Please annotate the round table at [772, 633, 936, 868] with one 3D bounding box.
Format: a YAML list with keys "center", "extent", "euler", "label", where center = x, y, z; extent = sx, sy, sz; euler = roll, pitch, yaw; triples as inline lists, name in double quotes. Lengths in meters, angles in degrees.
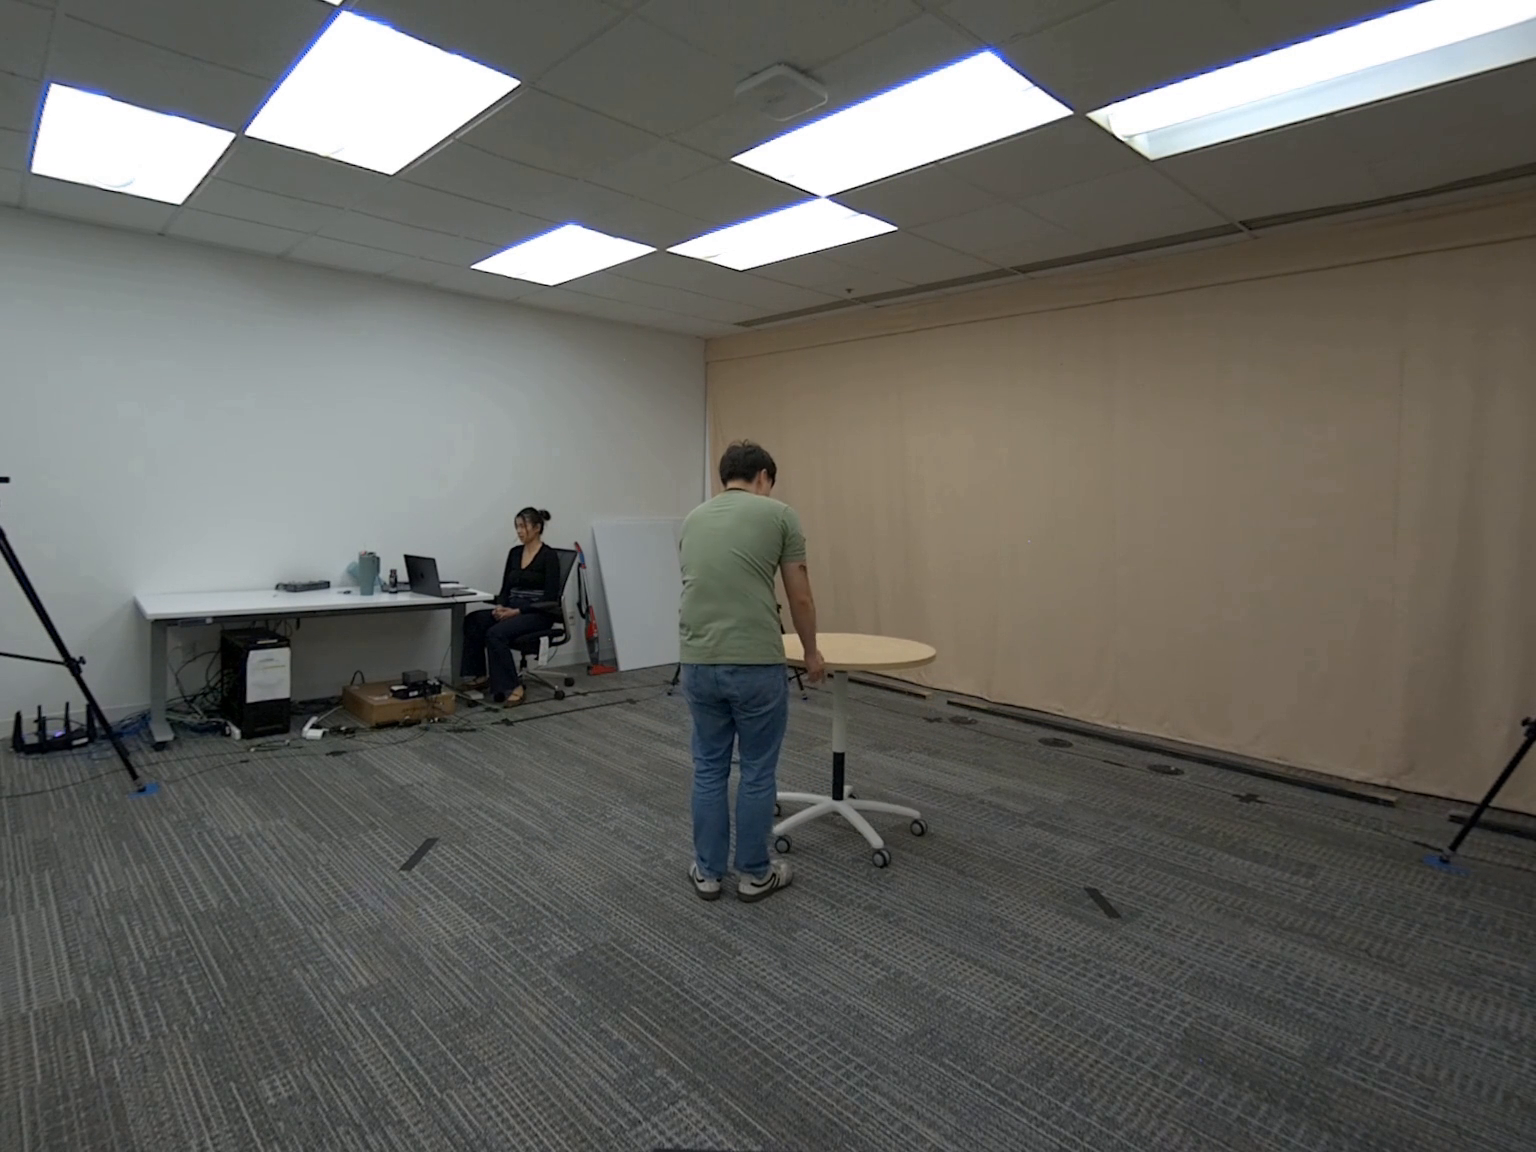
- center: [0.290, 0.689, 3.508]
  extent: [0.763, 0.792, 0.766]
  euler: [1, 3, -1]
  label: "round table"
